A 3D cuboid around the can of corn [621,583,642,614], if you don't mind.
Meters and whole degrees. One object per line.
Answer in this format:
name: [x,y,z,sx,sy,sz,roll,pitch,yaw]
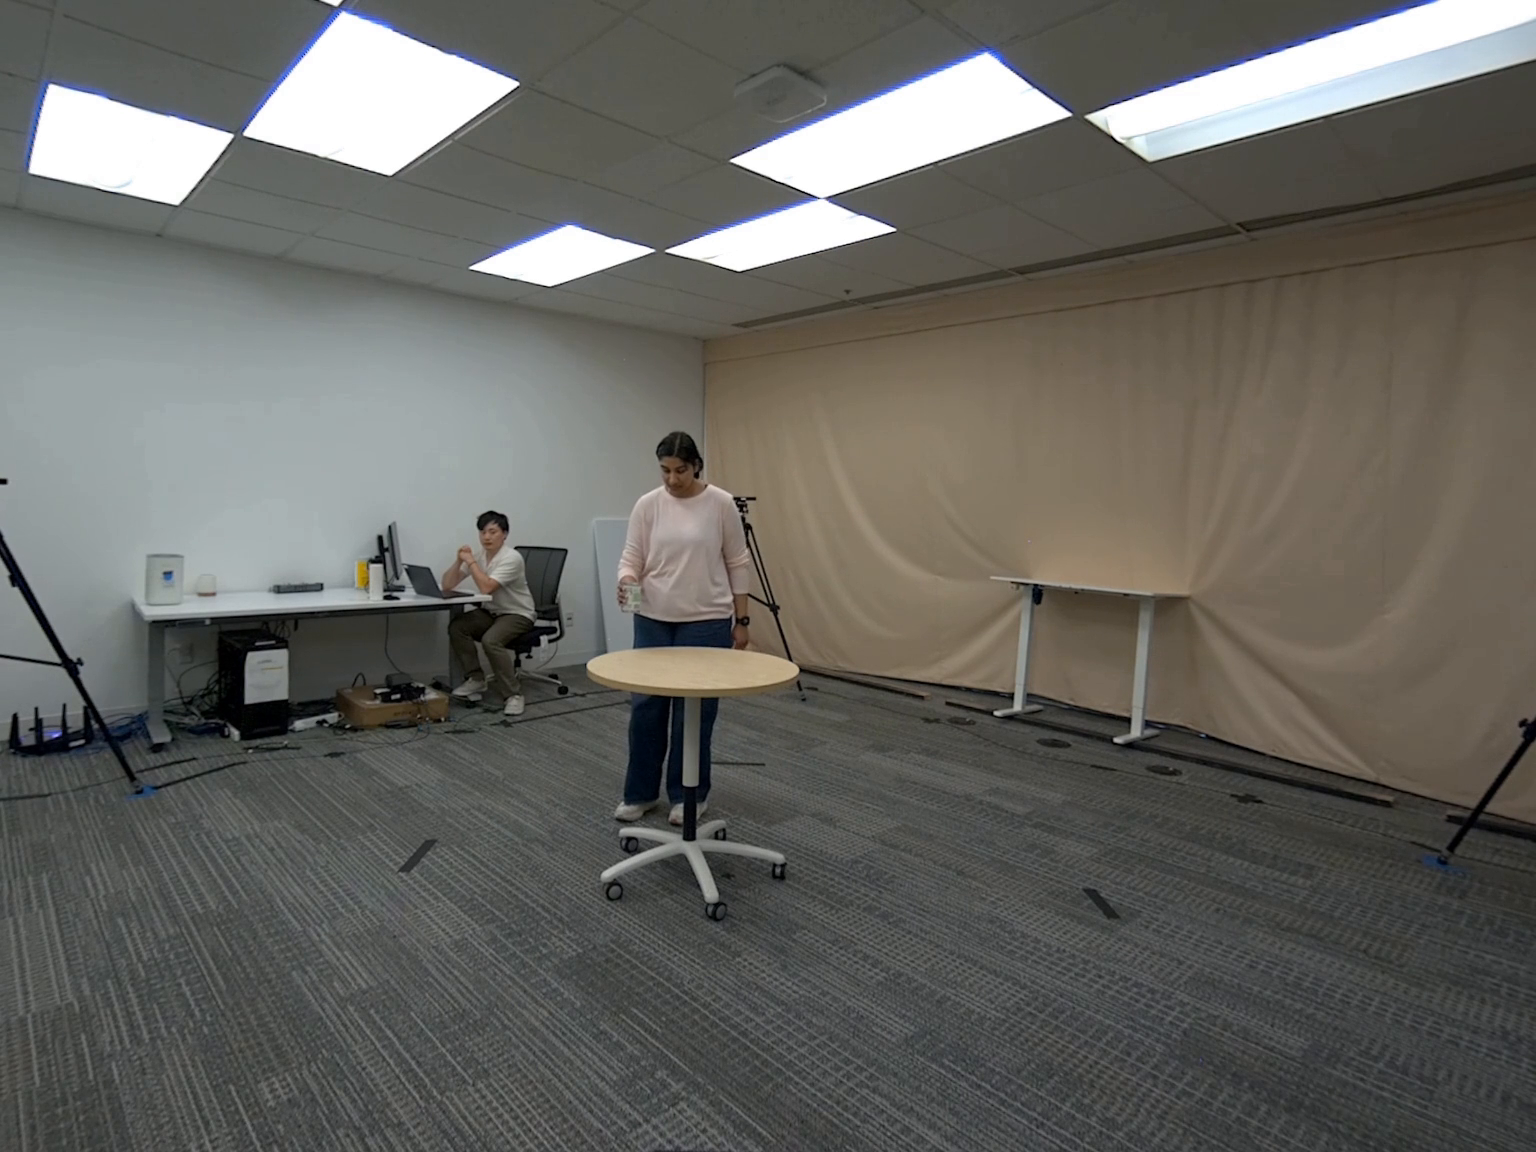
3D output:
can of corn: [-0.553,0.089,3.307,0.074,0.111,0.074,2,2,-1]
